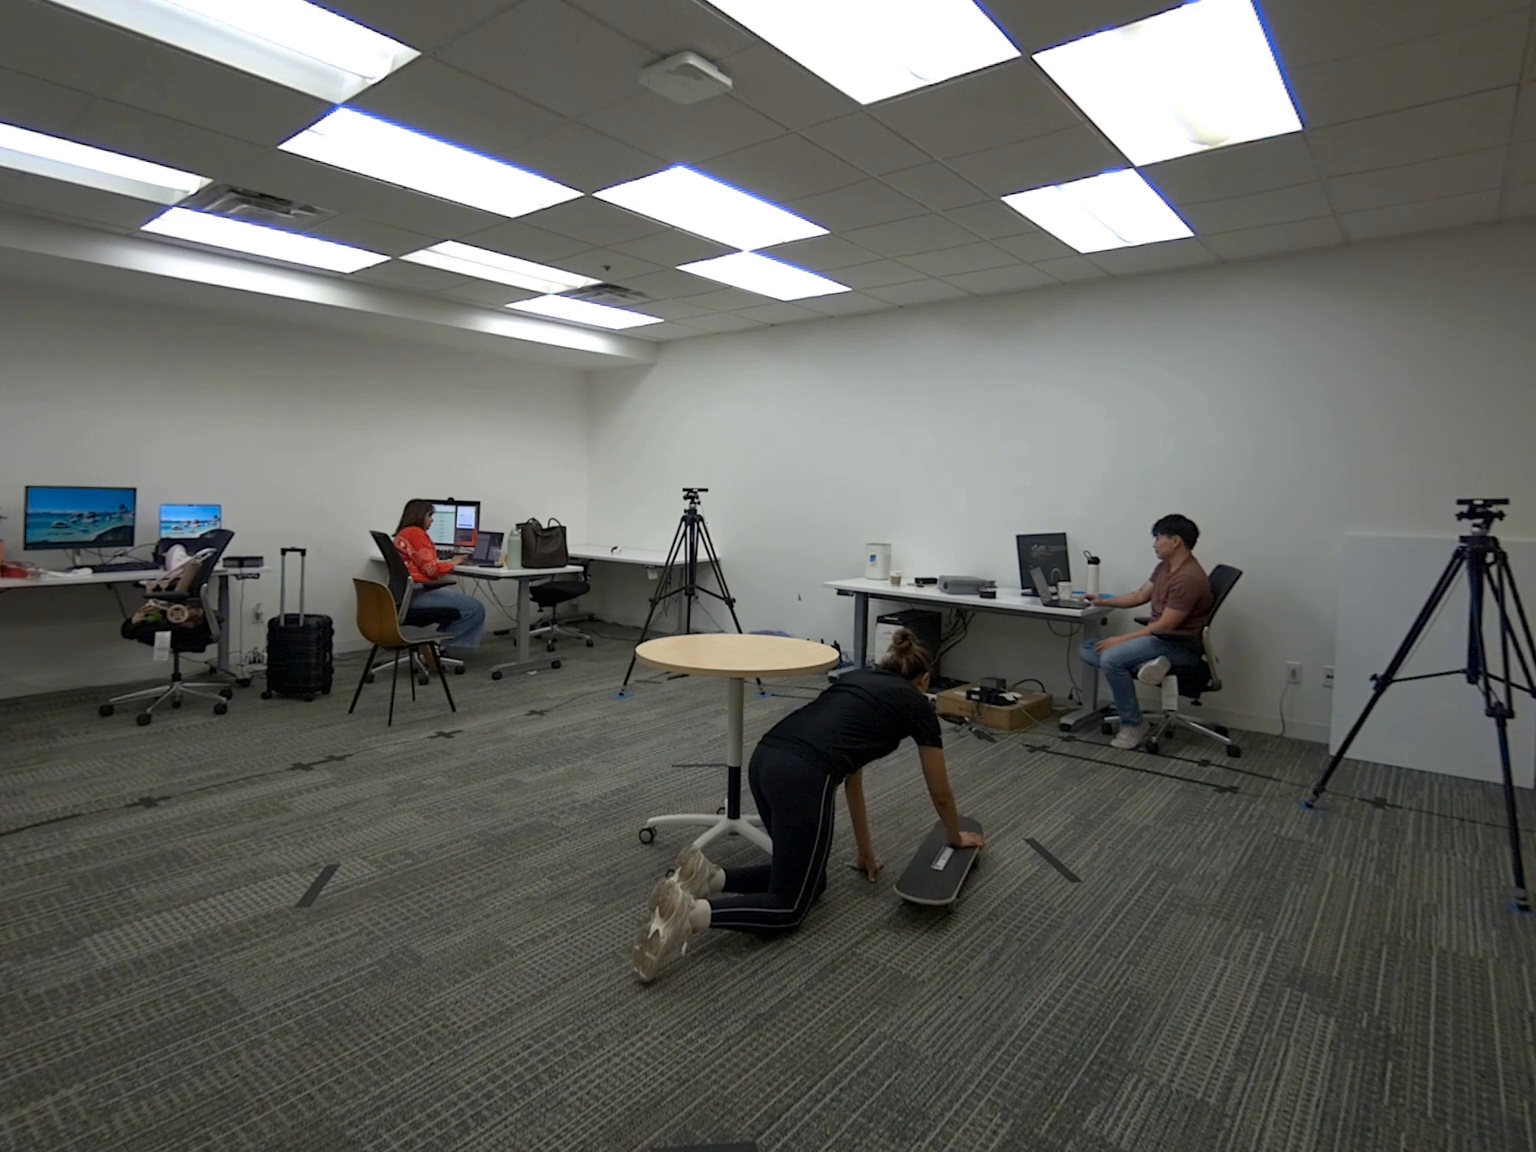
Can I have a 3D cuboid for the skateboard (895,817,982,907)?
[{"bbox_3d":[0.622,1.043,3.047,0.198,0.110,0.769,4,7,24],"label":"skateboard"}]
